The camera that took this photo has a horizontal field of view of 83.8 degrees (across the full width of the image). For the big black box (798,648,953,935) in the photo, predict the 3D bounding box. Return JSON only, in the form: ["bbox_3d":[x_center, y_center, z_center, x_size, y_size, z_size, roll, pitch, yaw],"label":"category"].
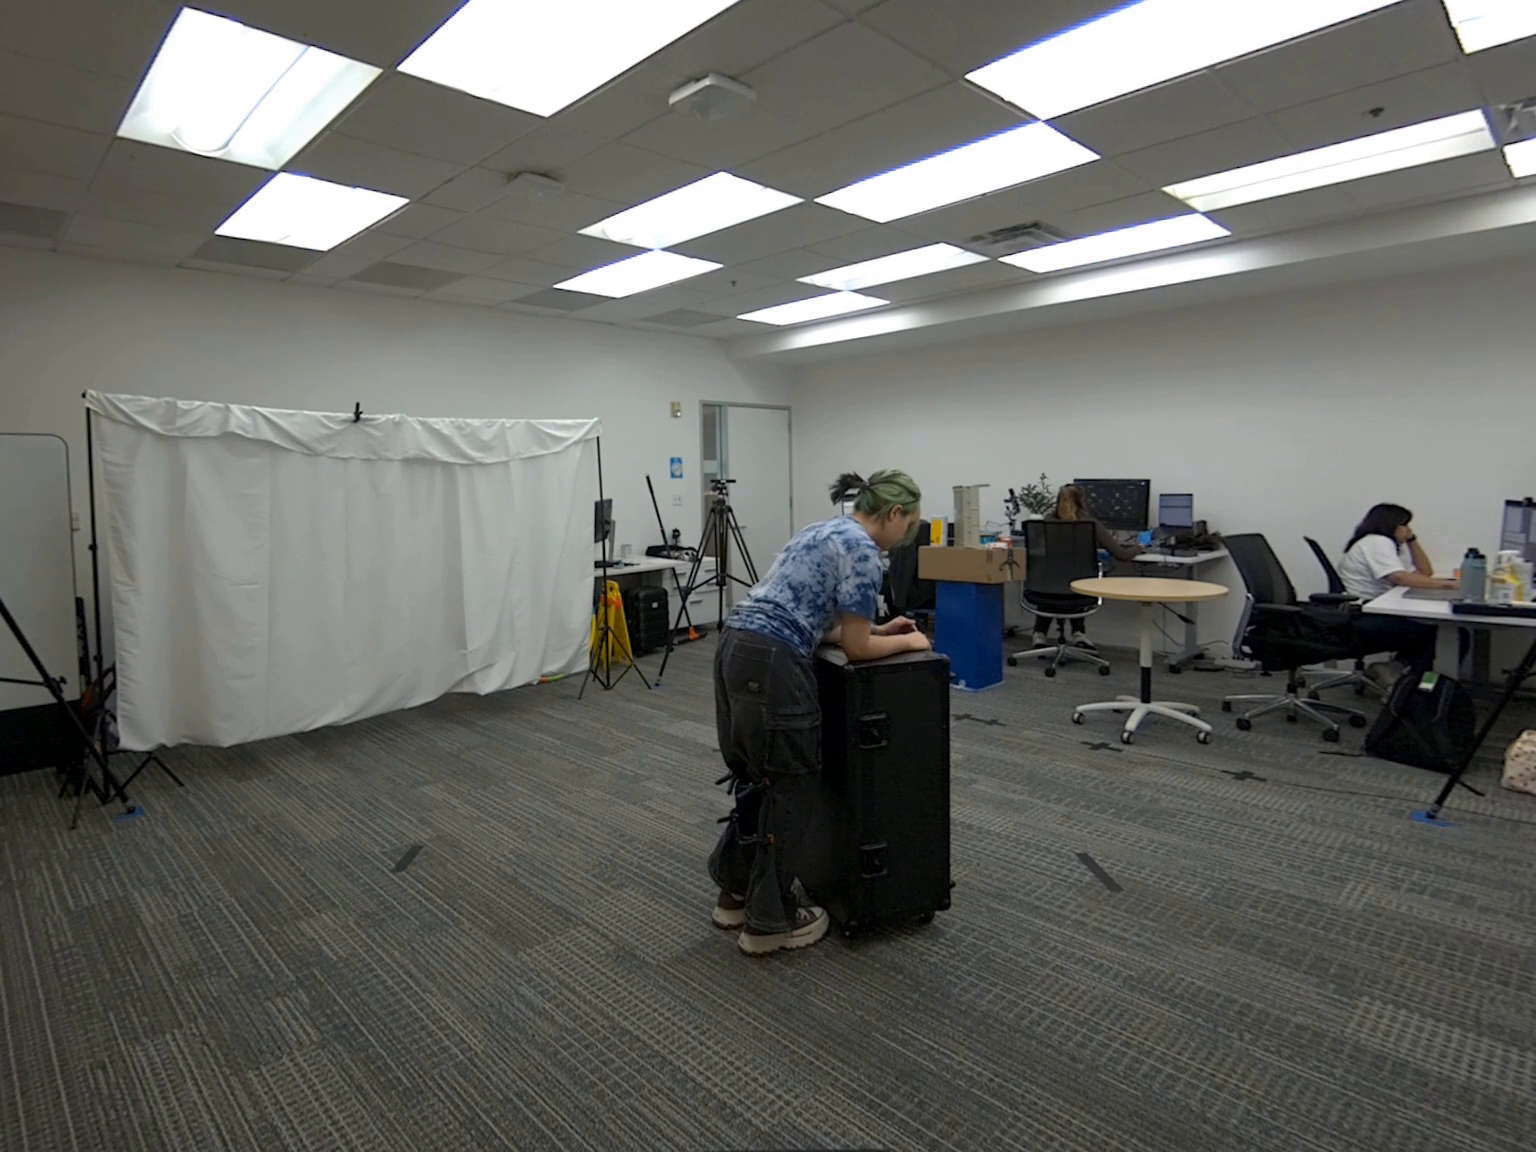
[{"bbox_3d":[0.322,0.591,2.760,0.389,0.859,0.532,-2,4,-21],"label":"big black box"}]
